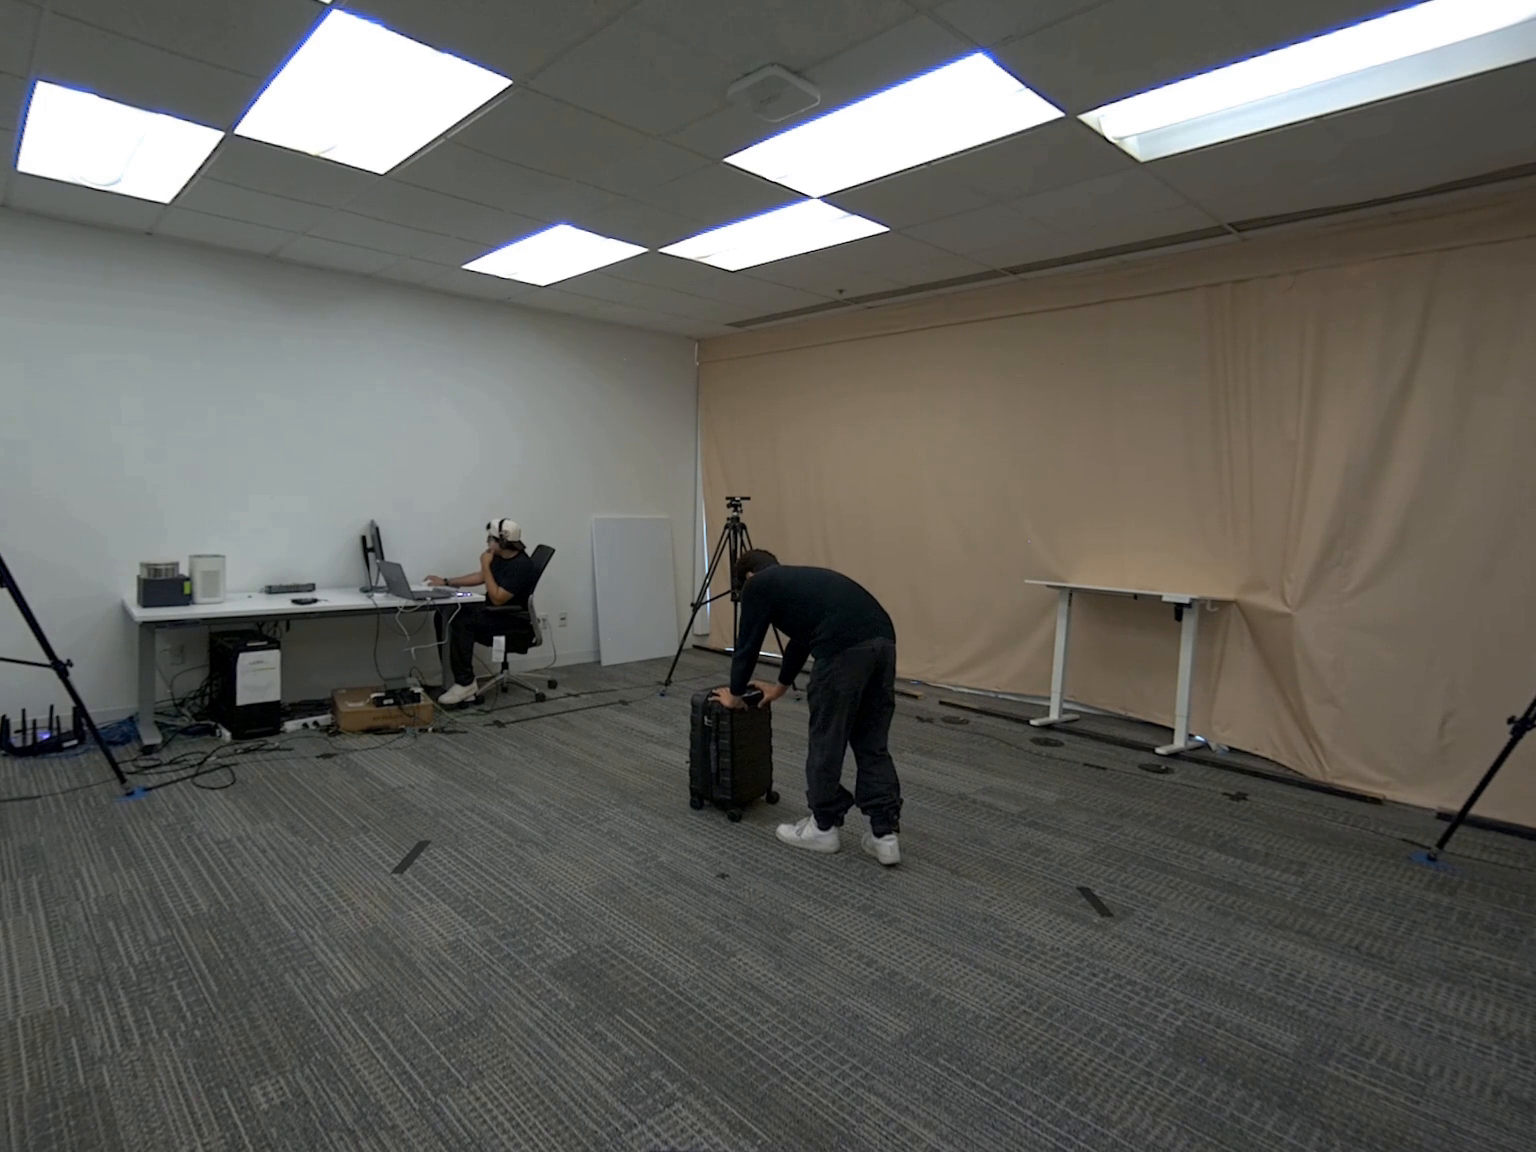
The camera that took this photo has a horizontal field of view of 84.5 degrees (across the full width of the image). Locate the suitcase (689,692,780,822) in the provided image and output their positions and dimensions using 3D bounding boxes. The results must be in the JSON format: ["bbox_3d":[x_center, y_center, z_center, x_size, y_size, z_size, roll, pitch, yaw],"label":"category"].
[{"bbox_3d":[-0.169,0.769,3.826,0.254,0.548,0.367,2,3,38],"label":"suitcase"}]
